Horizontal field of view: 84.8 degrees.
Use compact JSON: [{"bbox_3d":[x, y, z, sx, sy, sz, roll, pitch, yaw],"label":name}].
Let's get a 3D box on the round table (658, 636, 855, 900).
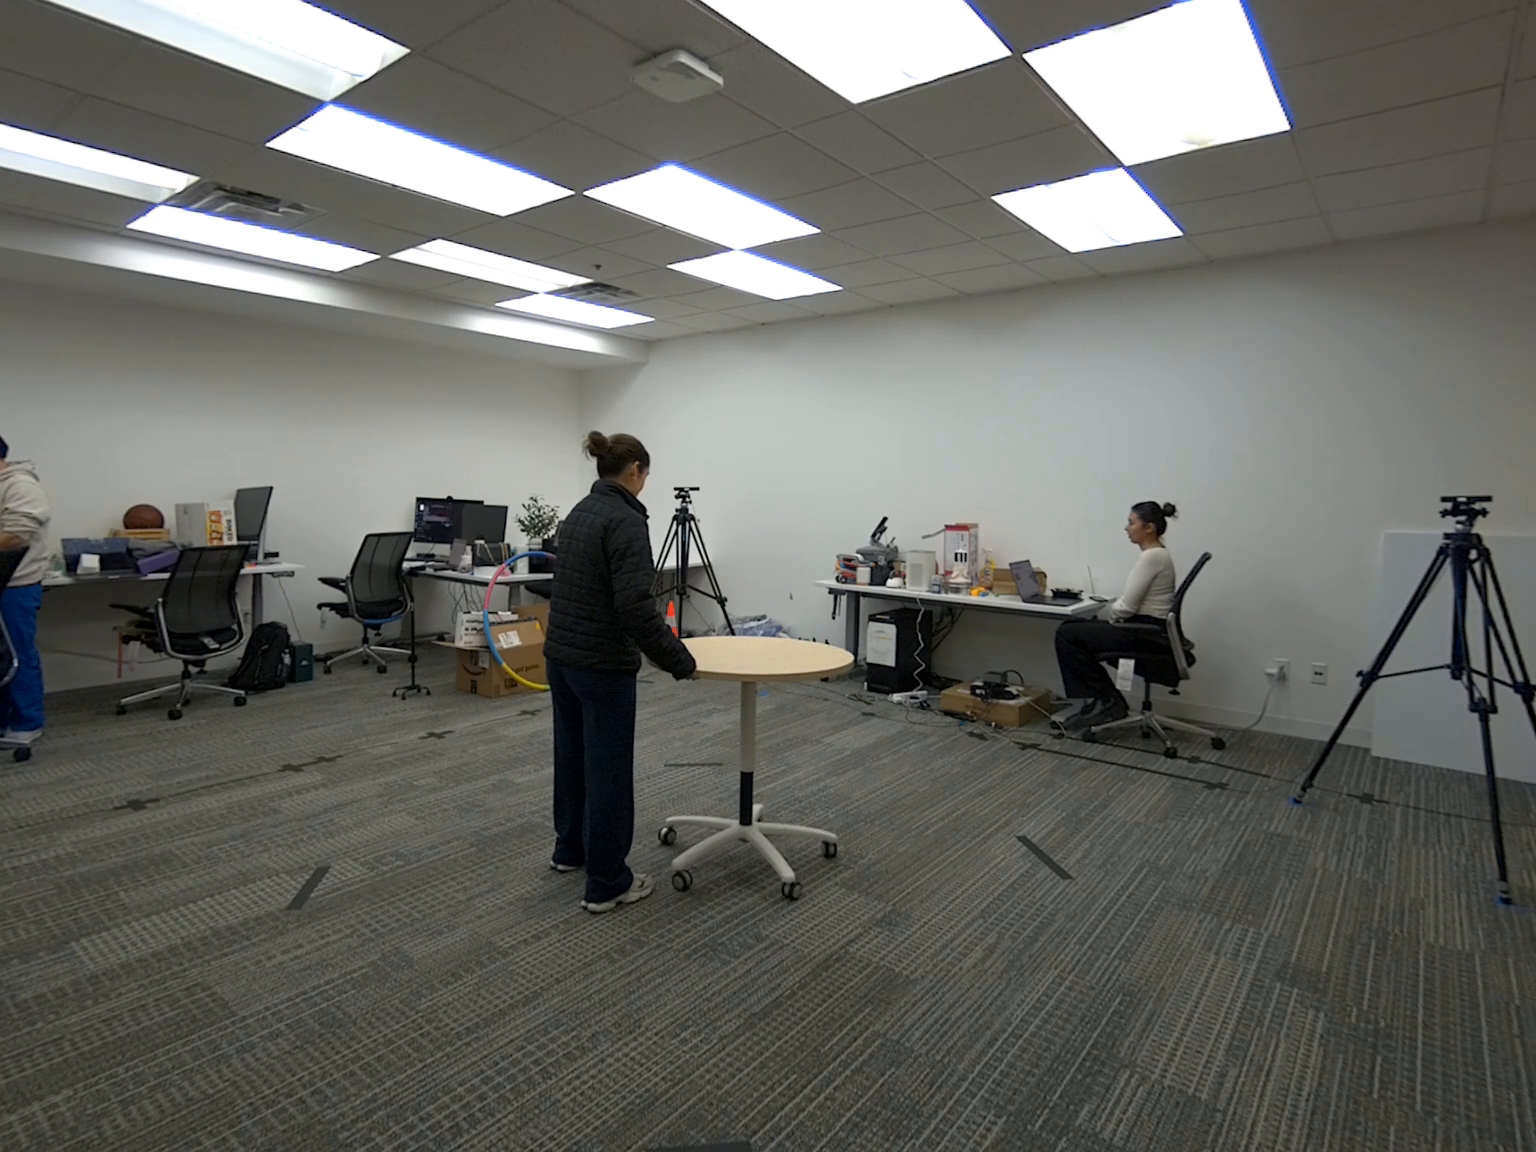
[{"bbox_3d":[-0.057,0.671,3.186,0.784,0.784,0.789,1,4,-2],"label":"round table"}]
